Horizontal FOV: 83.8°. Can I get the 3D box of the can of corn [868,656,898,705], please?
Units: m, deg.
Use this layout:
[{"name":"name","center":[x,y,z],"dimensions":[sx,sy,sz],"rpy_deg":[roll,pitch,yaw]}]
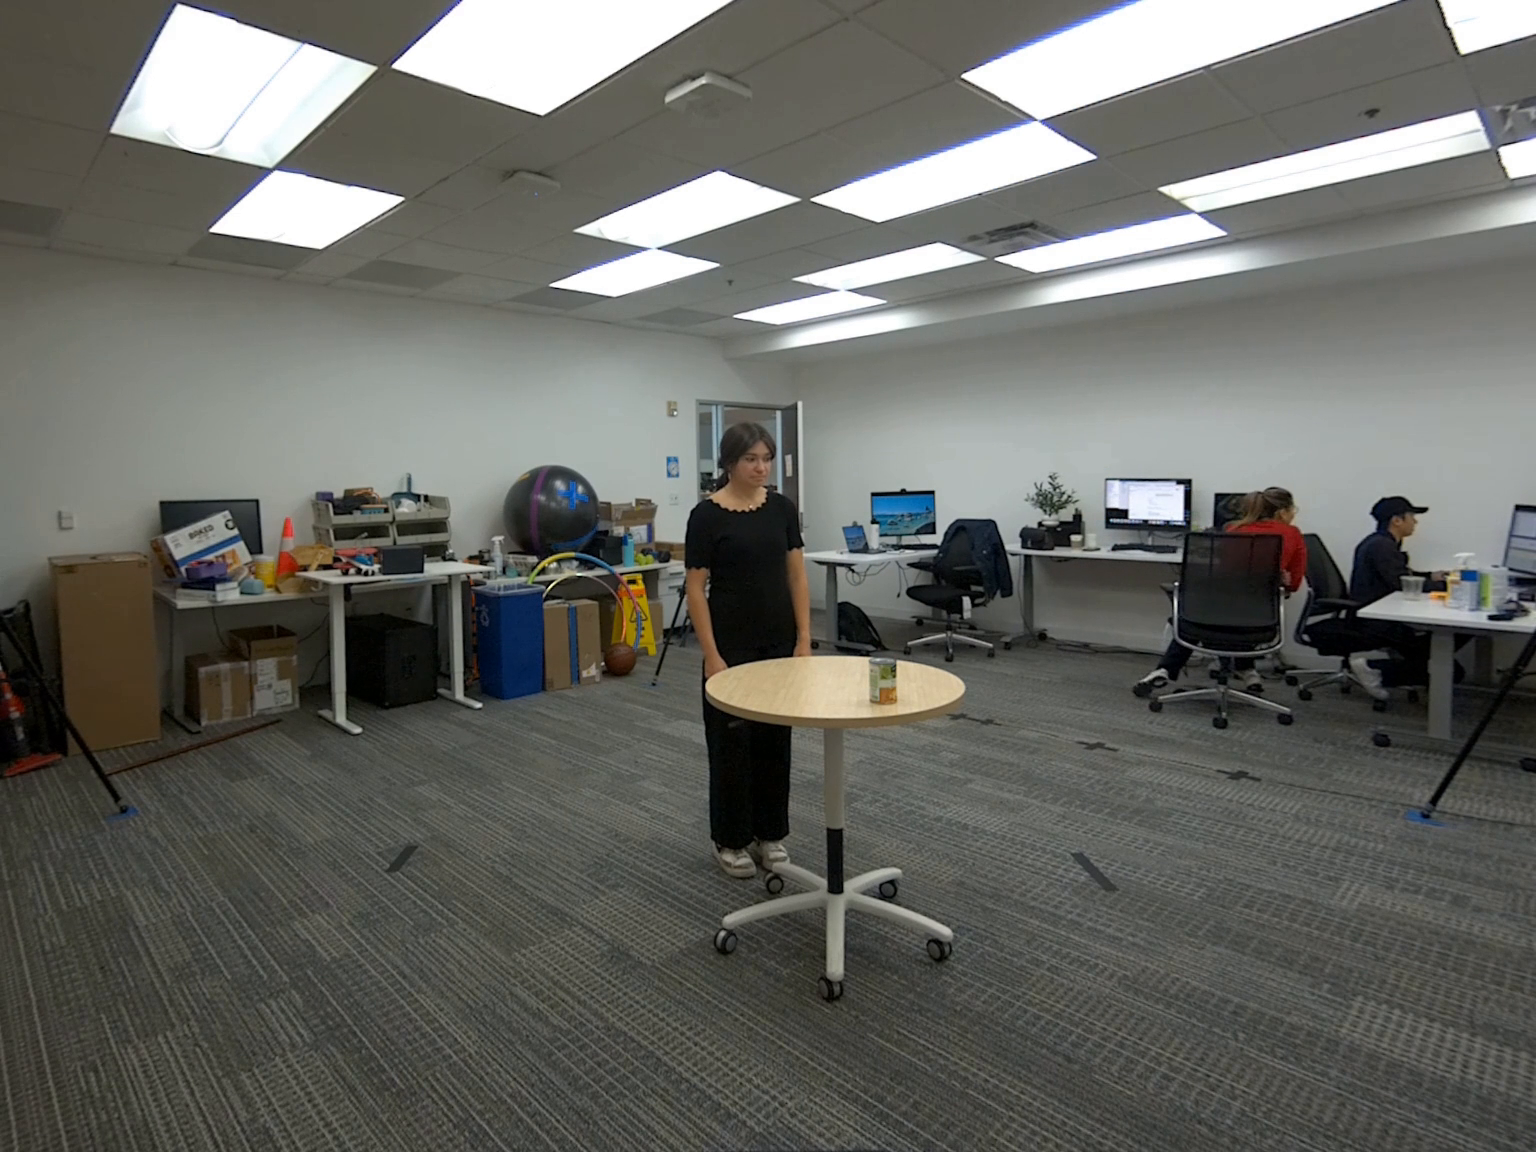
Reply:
[{"name":"can of corn","center":[0.322,0.291,2.322],"dimensions":[0.074,0.110,0.075],"rpy_deg":[-1,9,-2]}]
